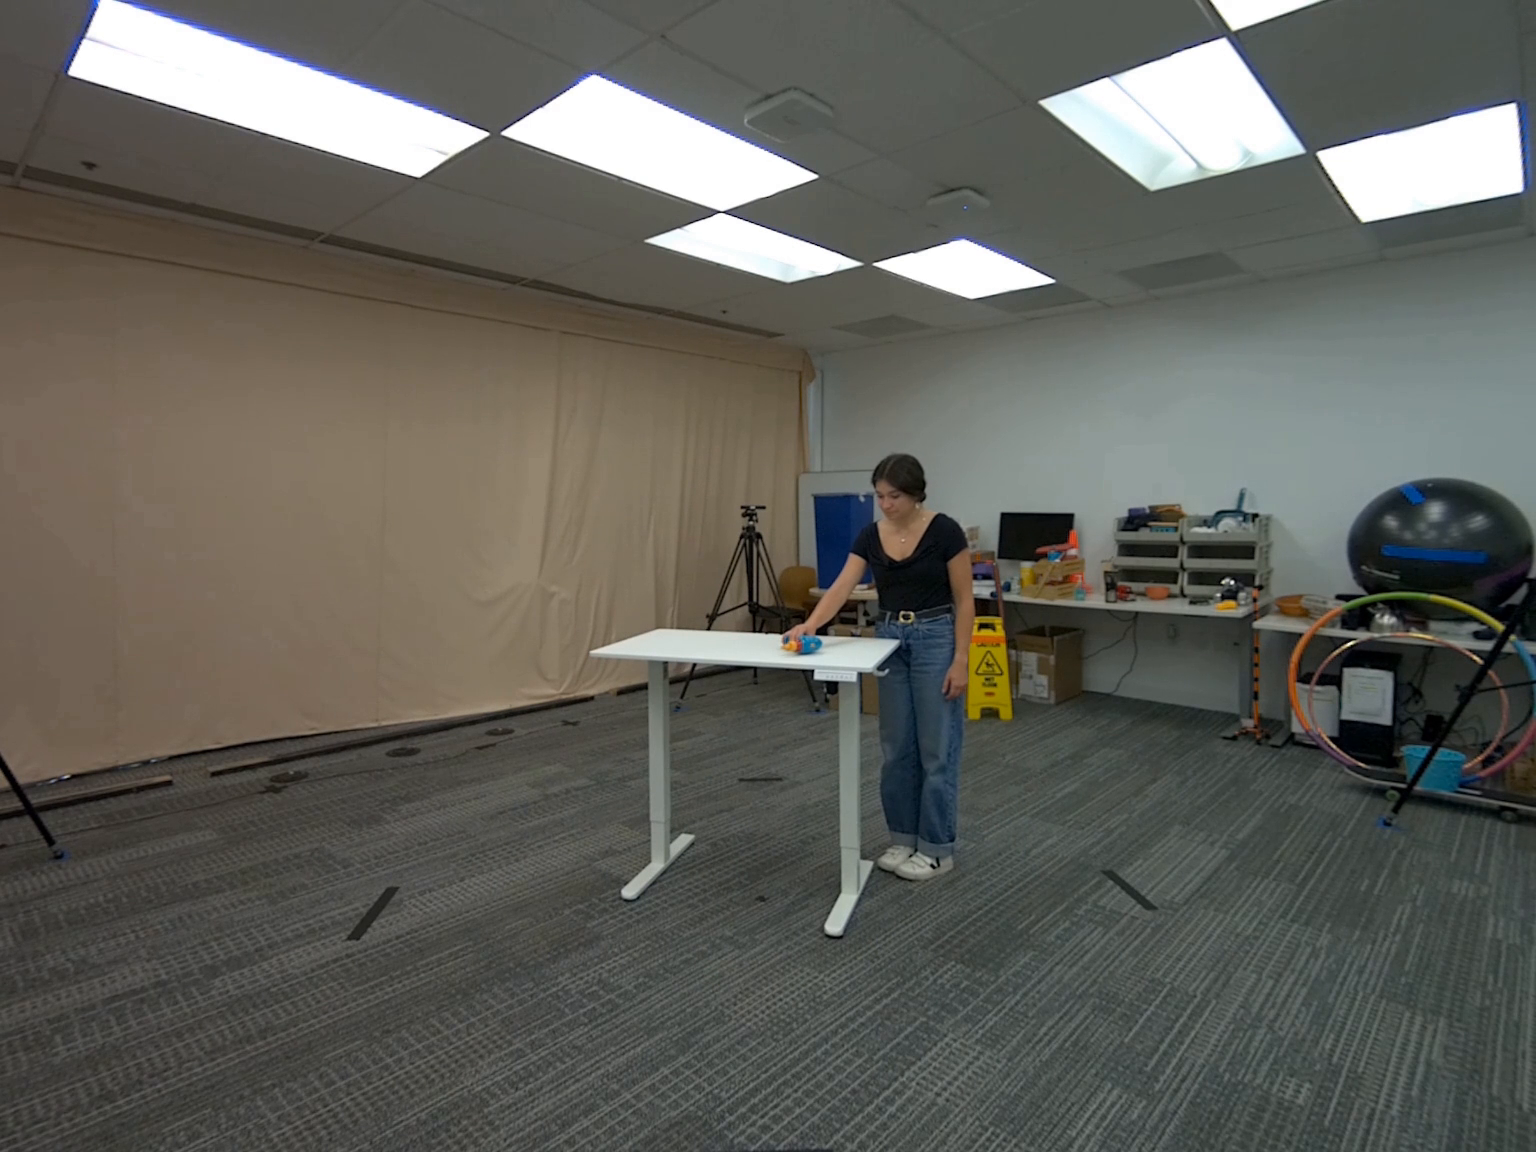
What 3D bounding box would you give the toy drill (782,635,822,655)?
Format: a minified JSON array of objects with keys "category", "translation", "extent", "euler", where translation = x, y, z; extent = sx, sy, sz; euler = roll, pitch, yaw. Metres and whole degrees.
[{"category":"toy drill","translation":[0.091,0.239,2.903],"extent":[0.165,0.061,0.150],"euler":[-5,2,-29]}]
